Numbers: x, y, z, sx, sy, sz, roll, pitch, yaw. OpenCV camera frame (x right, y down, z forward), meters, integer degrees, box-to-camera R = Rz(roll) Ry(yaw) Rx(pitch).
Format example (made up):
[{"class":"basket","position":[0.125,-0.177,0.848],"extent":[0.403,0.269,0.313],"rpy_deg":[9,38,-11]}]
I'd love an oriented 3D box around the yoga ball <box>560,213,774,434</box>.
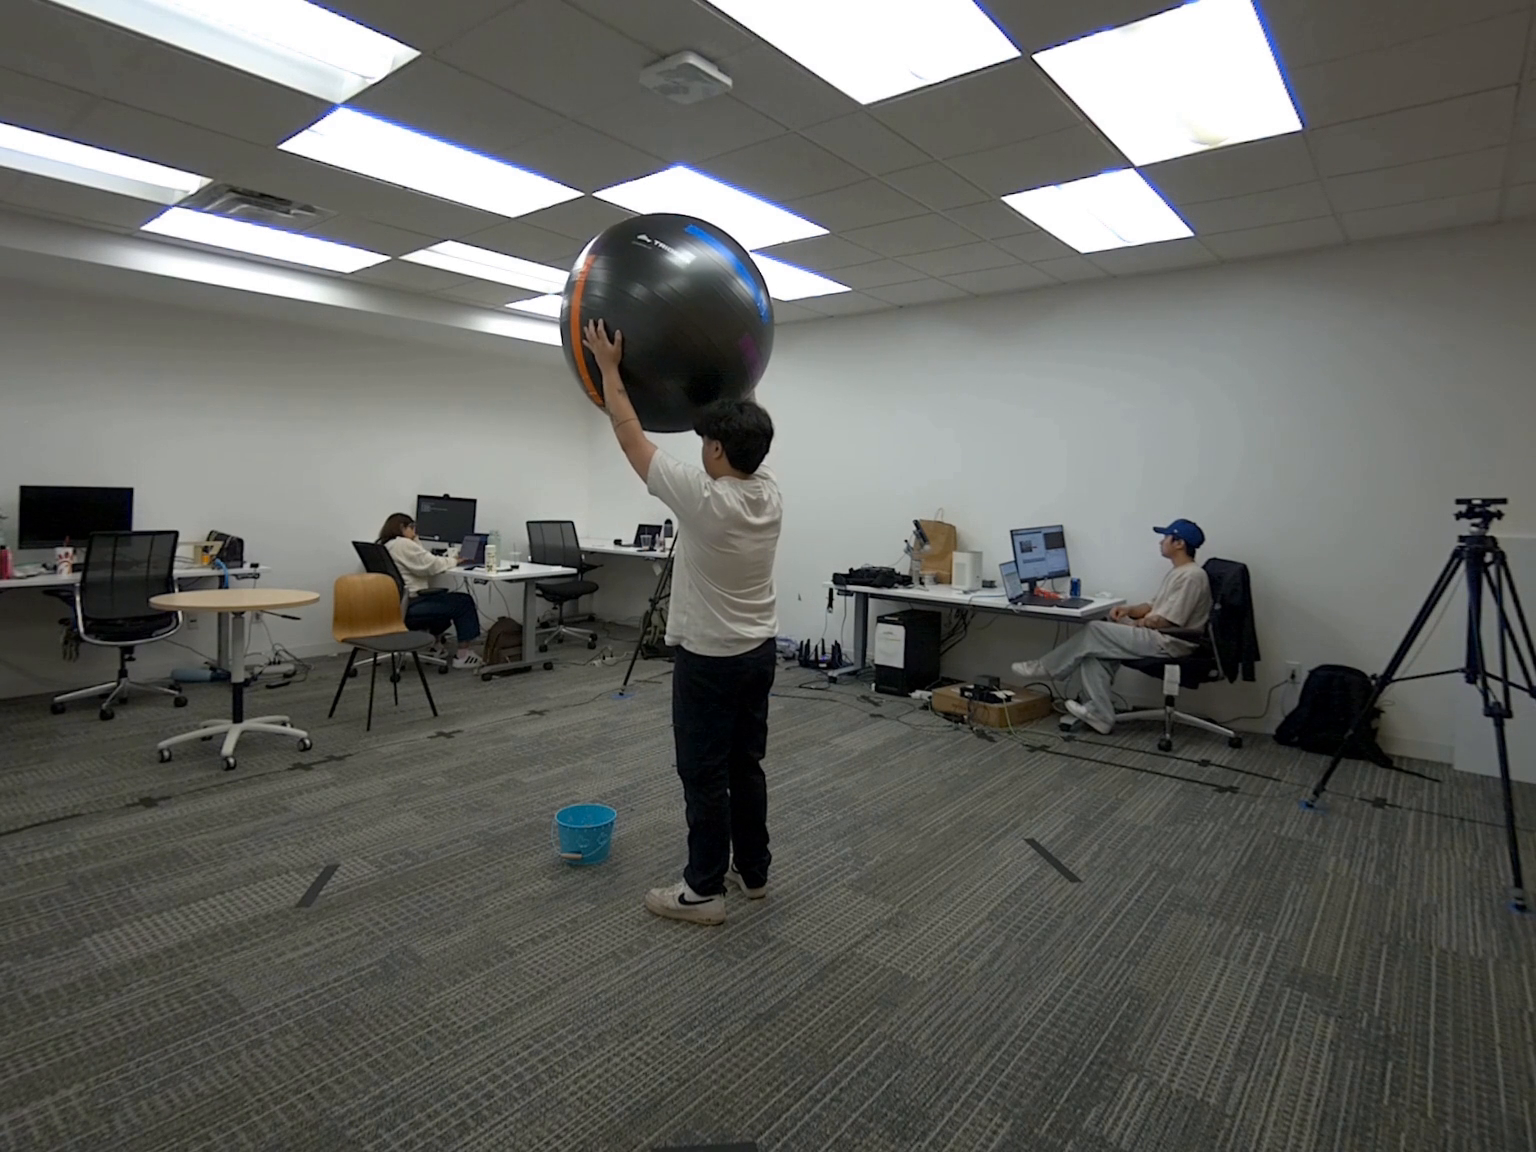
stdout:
[{"class":"yoga ball","position":[-0.370,-0.884,3.017],"extent":[0.757,0.755,0.762],"rpy_deg":[1,4,-2]}]
